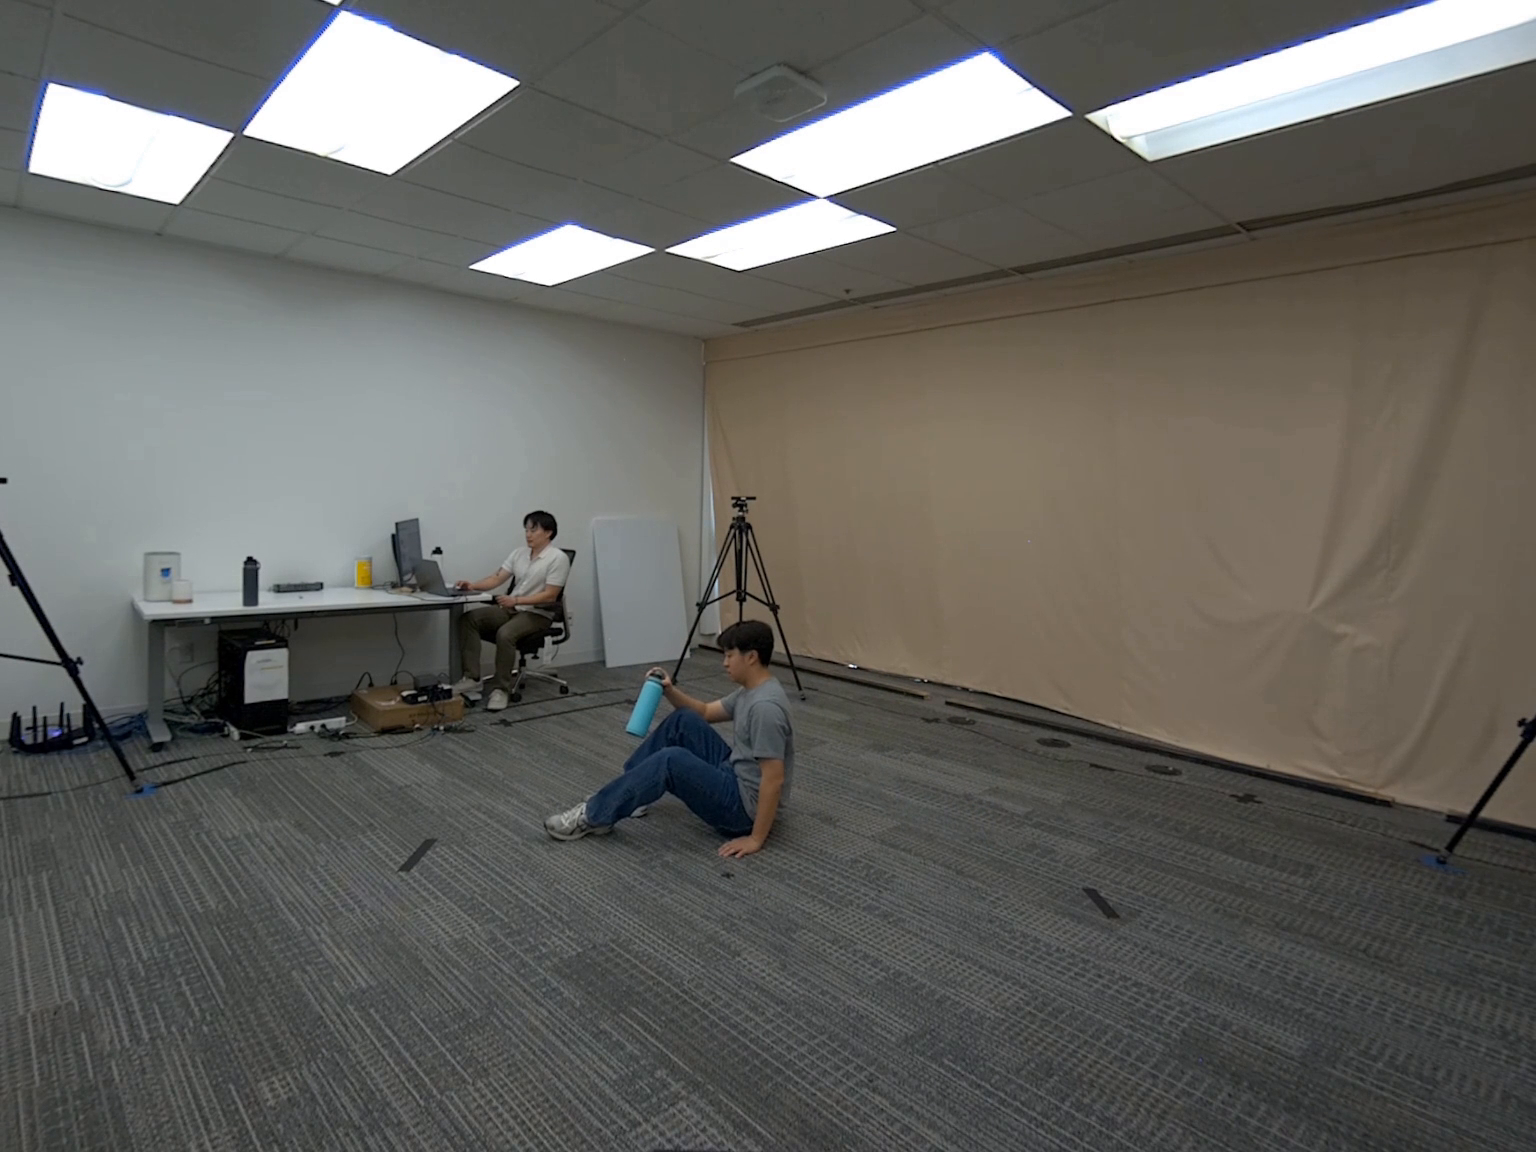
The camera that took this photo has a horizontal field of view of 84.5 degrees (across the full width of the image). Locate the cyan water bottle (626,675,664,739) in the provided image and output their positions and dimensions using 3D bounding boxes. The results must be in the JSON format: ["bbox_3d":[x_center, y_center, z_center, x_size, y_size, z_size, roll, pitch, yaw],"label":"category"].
[{"bbox_3d":[-0.523,0.543,3.584,0.093,0.286,0.091,18,-21,5],"label":"cyan water bottle"}]
